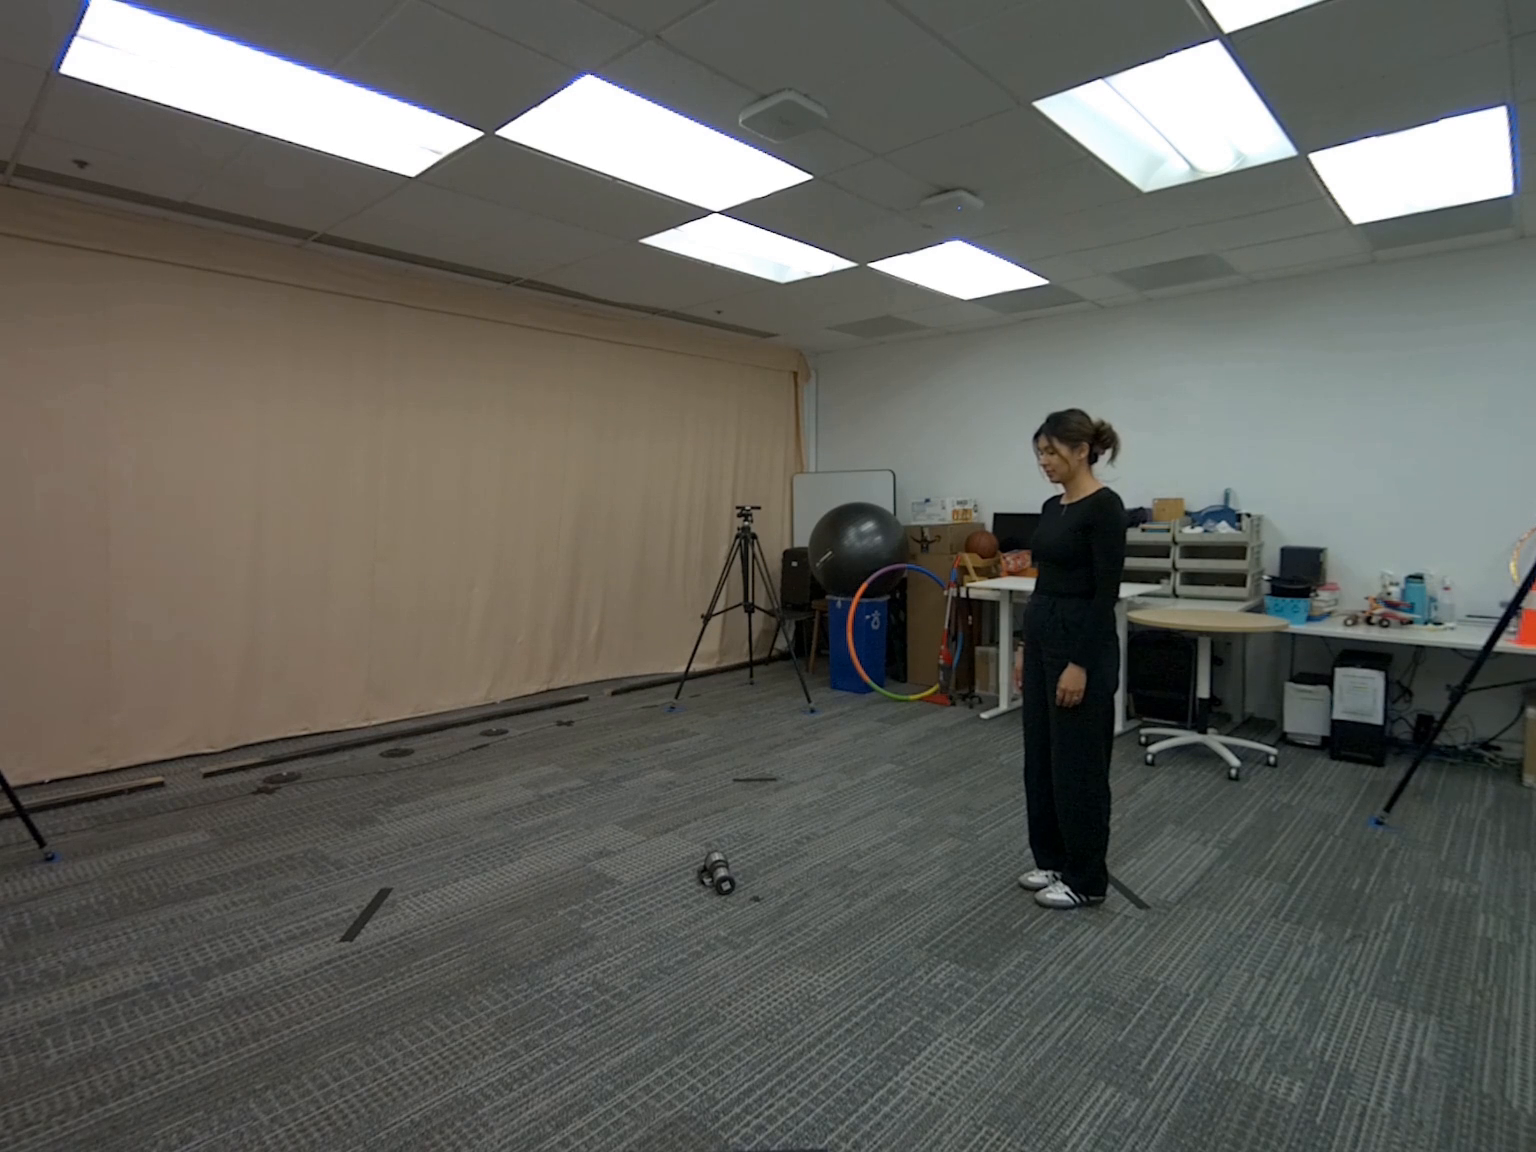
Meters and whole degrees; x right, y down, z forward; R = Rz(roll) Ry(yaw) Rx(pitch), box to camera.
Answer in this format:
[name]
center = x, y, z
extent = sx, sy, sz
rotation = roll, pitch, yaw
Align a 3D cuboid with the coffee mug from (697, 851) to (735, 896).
[coffee mug]
center = -0.186, 1.109, 3.107
extent = 0.086, 0.122, 0.207
rotation = 41, -3, -17
